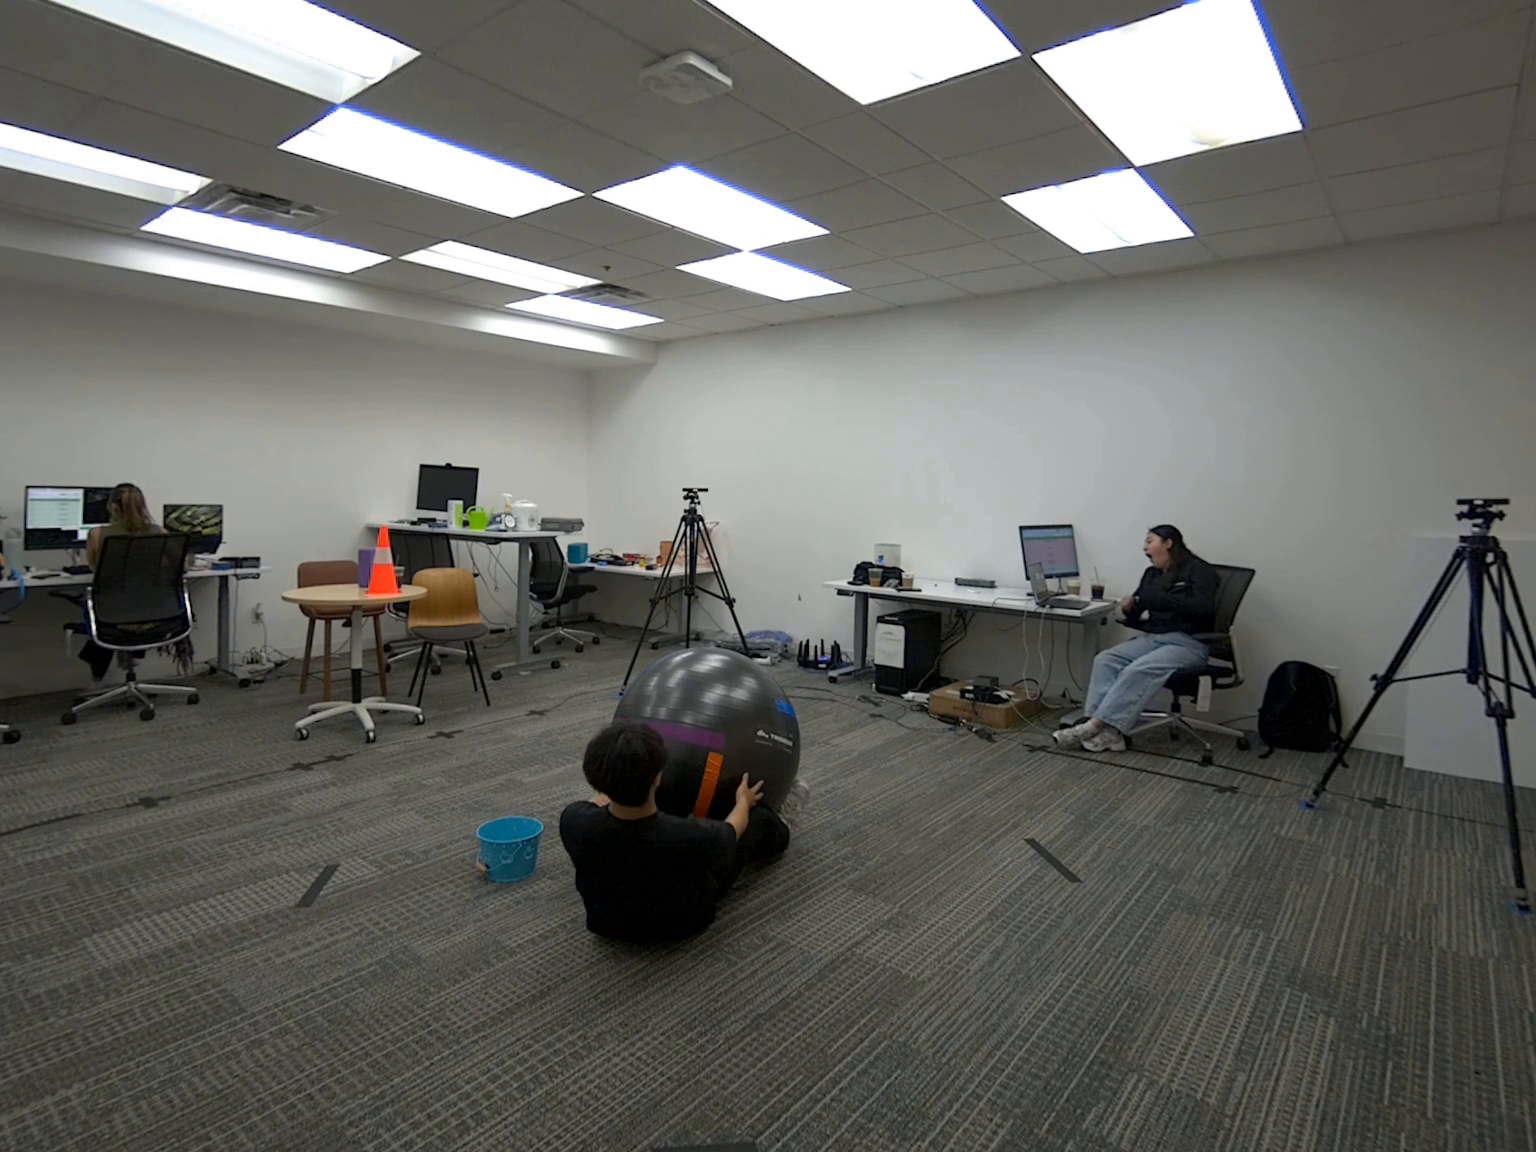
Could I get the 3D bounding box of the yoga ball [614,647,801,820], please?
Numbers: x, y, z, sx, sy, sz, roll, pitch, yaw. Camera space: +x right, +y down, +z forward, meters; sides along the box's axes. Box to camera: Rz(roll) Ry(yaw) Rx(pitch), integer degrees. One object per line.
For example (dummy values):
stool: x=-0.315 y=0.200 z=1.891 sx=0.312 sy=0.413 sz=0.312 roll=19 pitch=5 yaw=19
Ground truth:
yoga ball: x=-0.257 y=0.673 z=3.360 sx=0.757 sy=0.755 sz=0.762 roll=1 pitch=4 yaw=-2
